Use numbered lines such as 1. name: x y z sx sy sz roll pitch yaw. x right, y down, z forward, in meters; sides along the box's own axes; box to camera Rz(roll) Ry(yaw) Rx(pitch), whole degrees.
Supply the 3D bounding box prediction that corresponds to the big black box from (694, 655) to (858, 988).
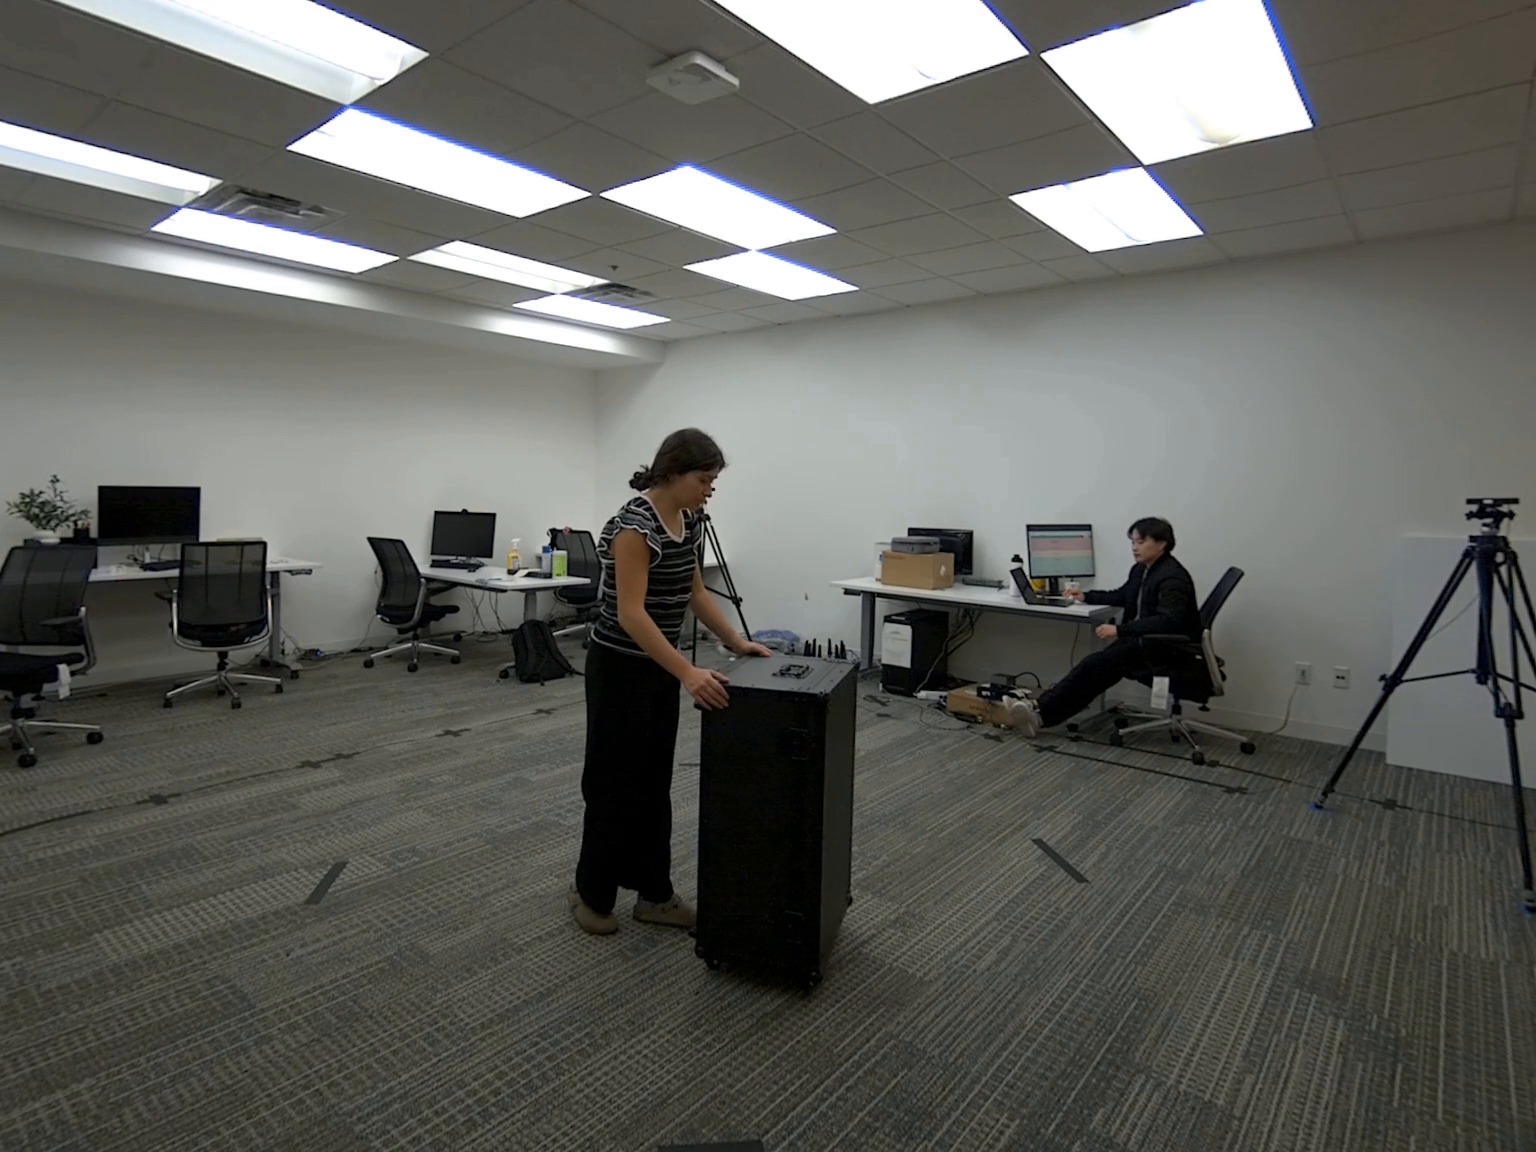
1. big black box: 0.020 0.707 2.532 0.404 0.859 0.513 2 4 17
